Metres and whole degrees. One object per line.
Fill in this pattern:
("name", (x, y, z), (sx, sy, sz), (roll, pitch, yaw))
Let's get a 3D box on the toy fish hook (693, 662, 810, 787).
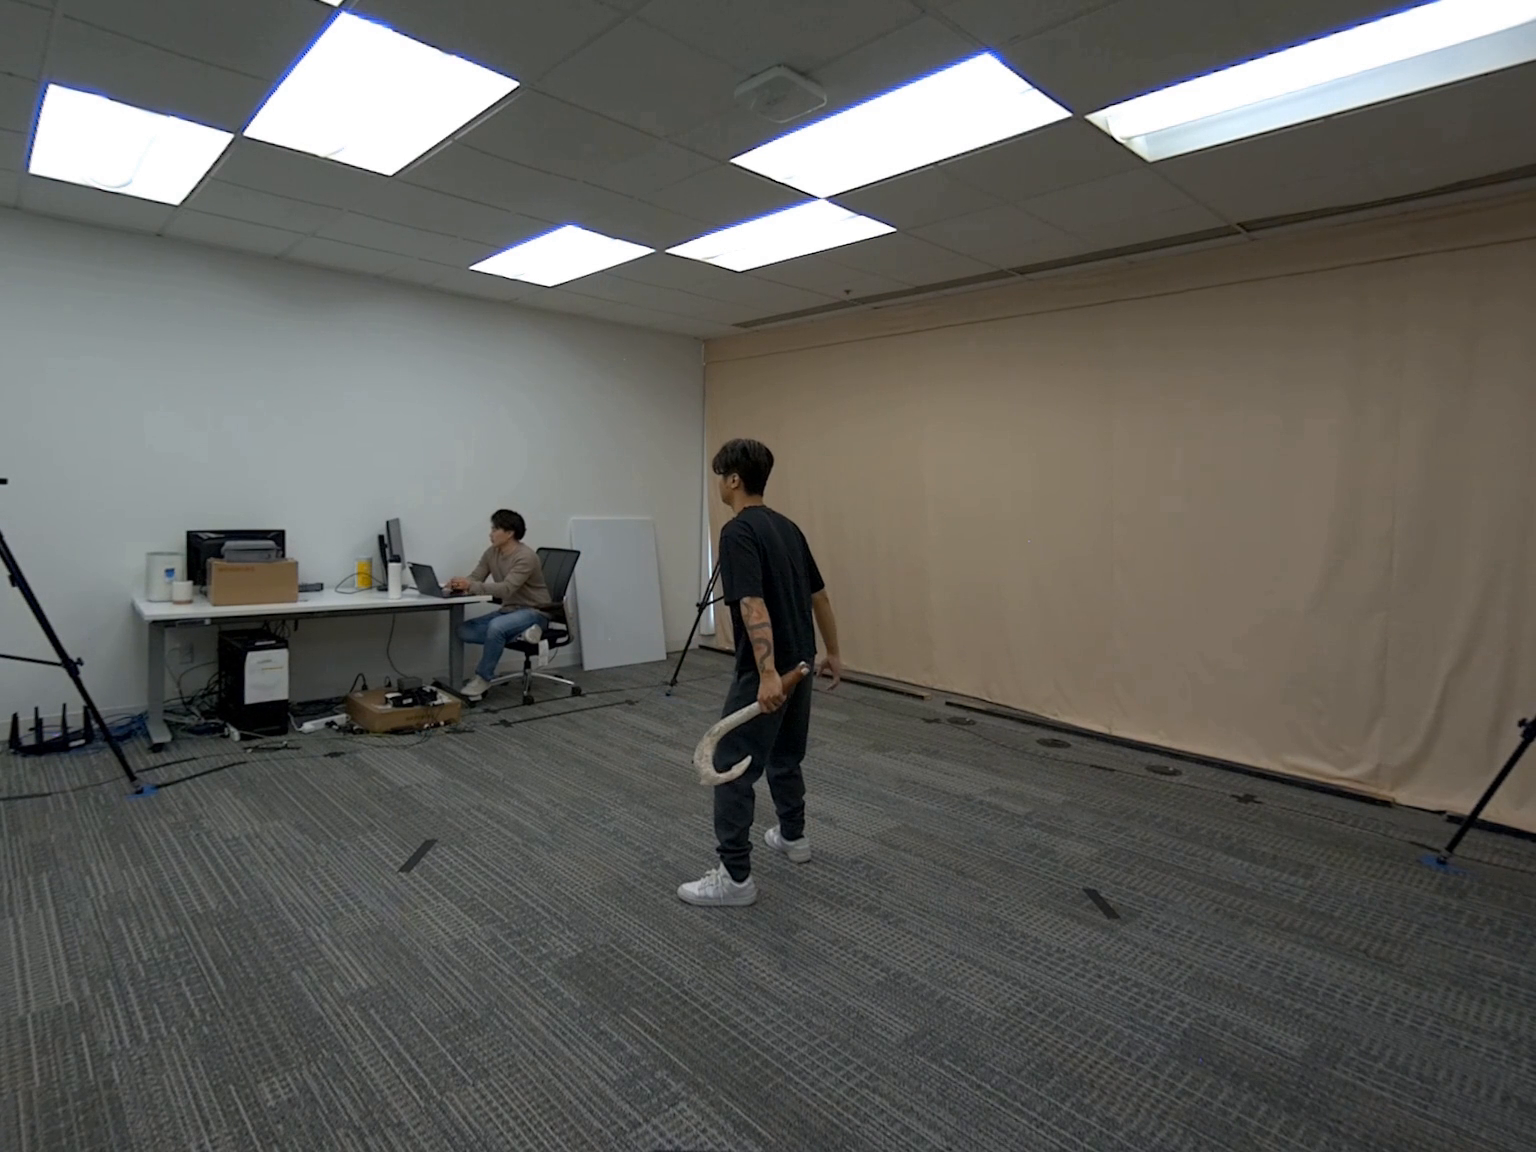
("toy fish hook", (-0.083, 0.478, 2.692), (0.047, 0.507, 0.232), (39, 14, -43))
